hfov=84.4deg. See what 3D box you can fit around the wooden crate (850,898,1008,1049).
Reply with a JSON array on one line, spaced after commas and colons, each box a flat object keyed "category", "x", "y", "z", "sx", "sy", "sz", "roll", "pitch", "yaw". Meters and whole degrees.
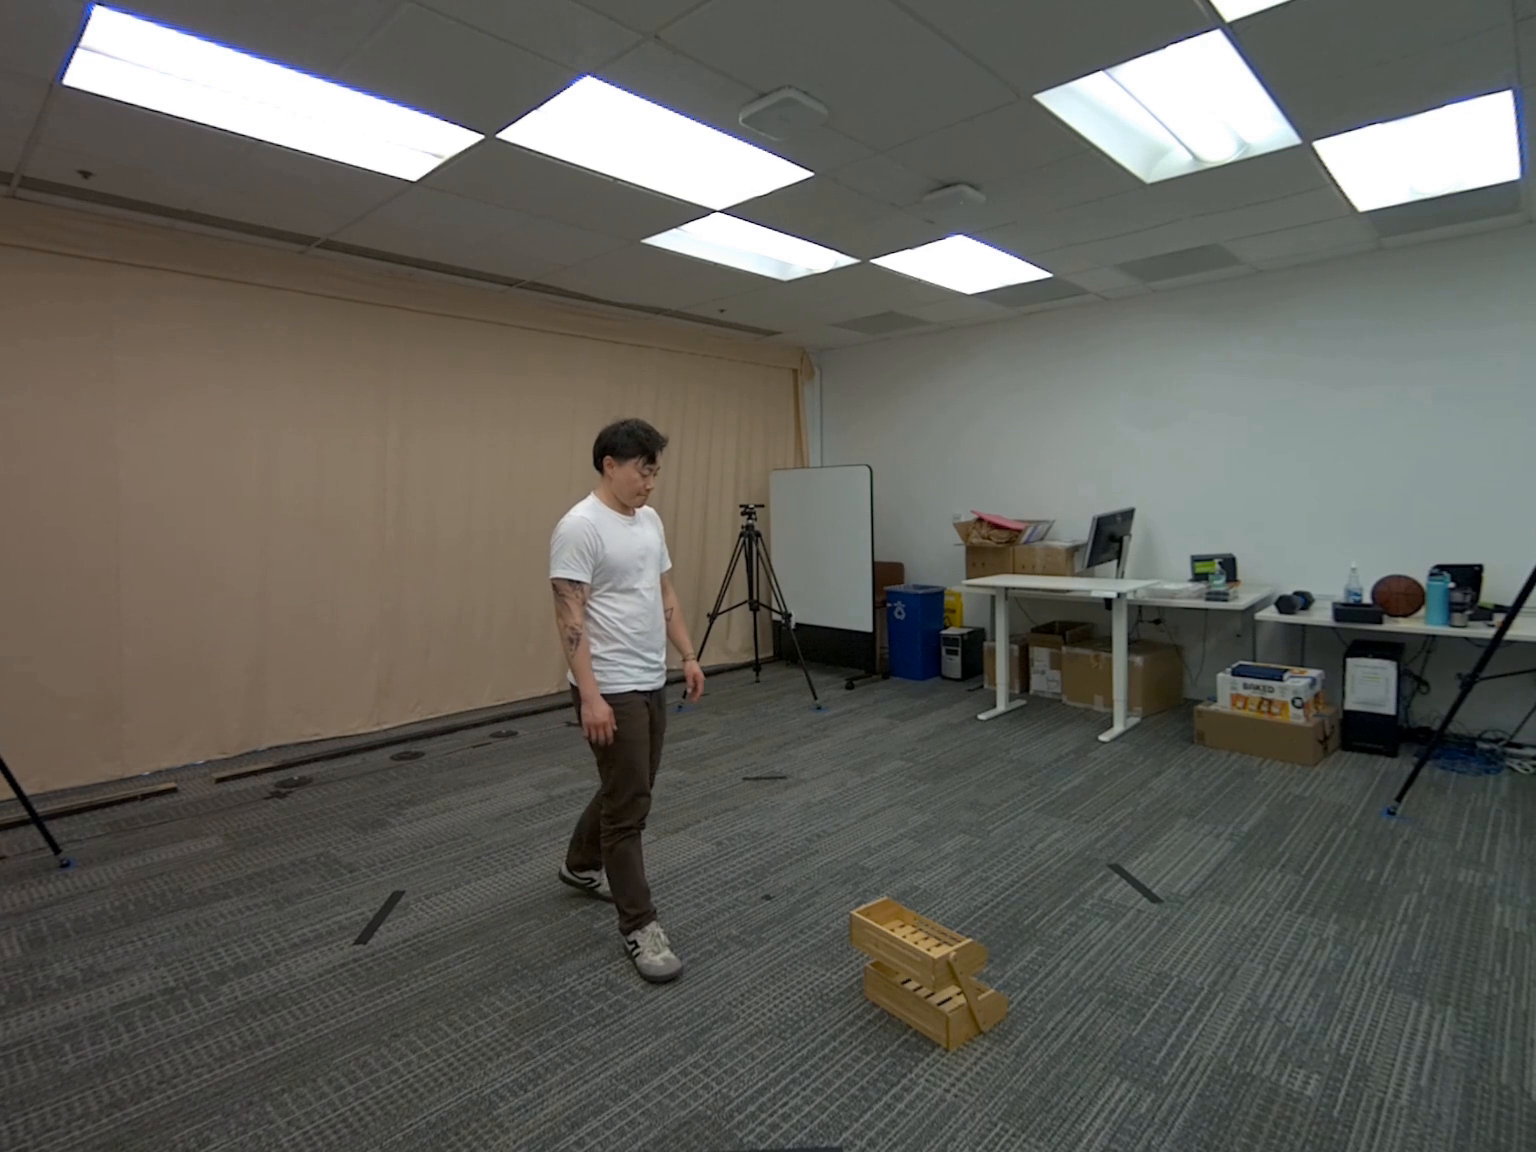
[{"category": "wooden crate", "x": 0.449, "y": 1.058, "z": 2.301, "sx": 0.293, "sy": 0.273, "sz": 0.335, "roll": -4, "pitch": 5, "yaw": -38}]
